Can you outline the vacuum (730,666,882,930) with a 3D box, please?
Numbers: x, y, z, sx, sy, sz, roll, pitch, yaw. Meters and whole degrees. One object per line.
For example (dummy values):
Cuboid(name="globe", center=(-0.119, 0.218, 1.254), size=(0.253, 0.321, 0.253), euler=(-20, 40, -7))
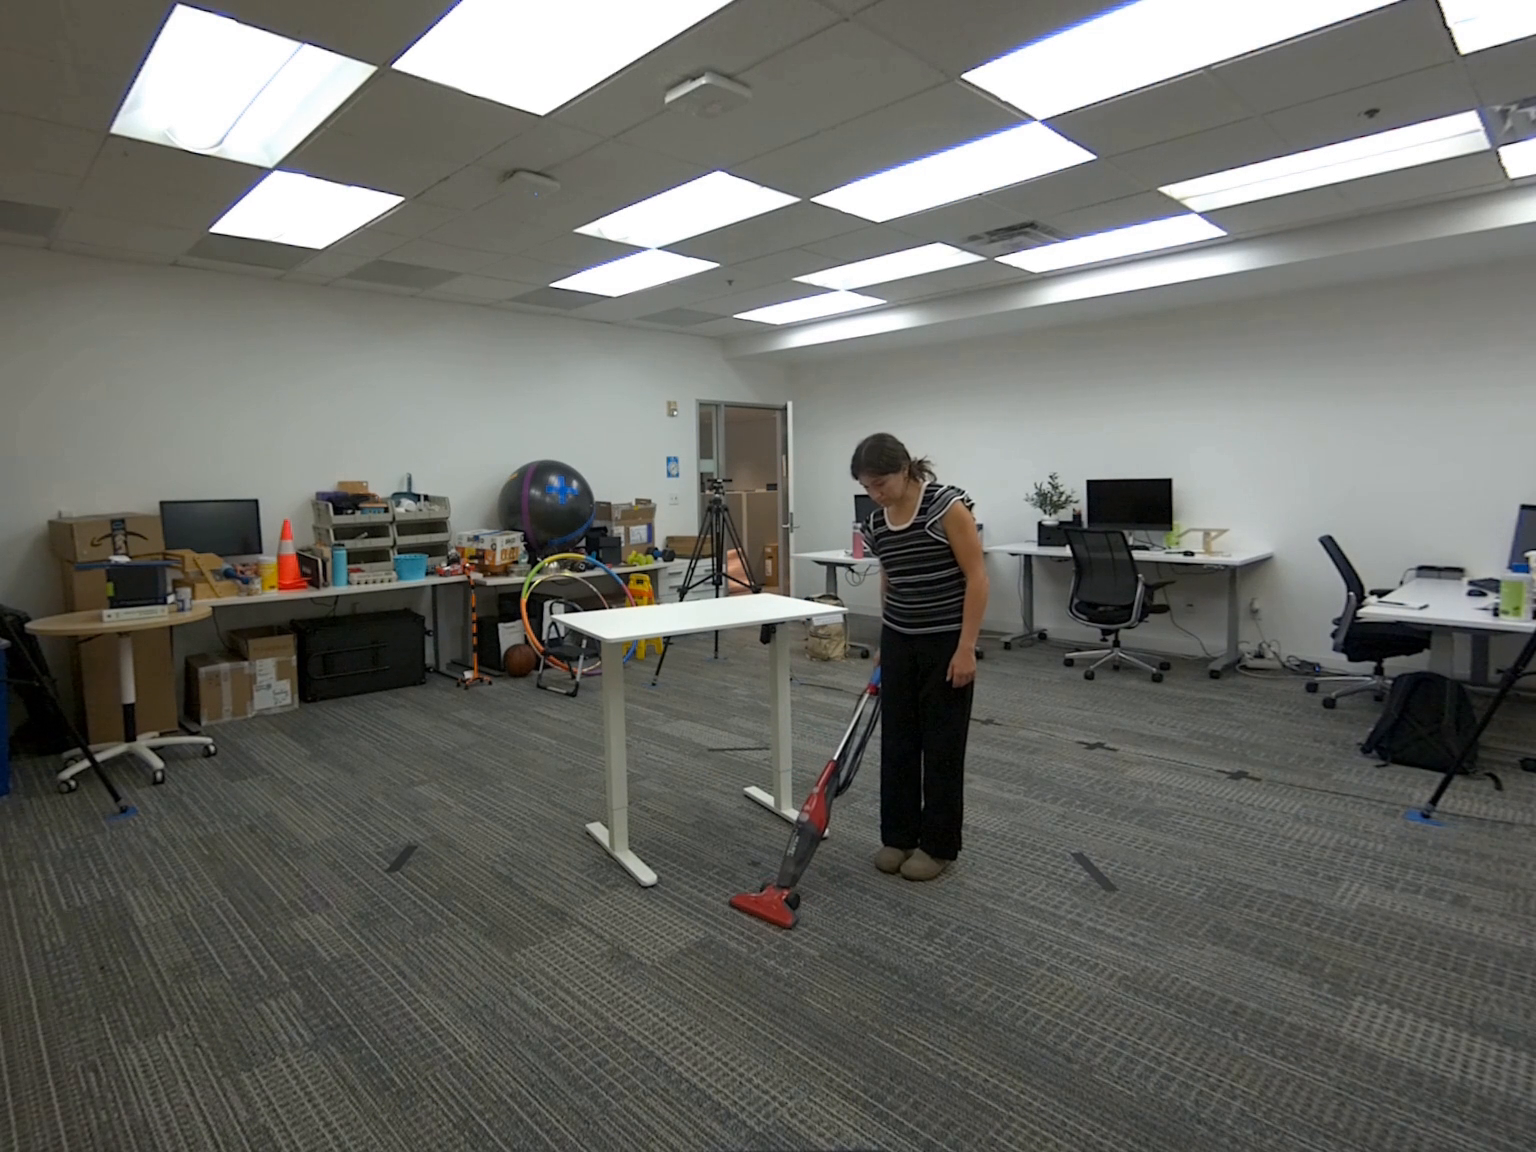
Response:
Cuboid(name="vacuum", center=(0.242, 0.706, 3.026), size=(0.260, 0.139, 1.054), euler=(6, 48, 36))
